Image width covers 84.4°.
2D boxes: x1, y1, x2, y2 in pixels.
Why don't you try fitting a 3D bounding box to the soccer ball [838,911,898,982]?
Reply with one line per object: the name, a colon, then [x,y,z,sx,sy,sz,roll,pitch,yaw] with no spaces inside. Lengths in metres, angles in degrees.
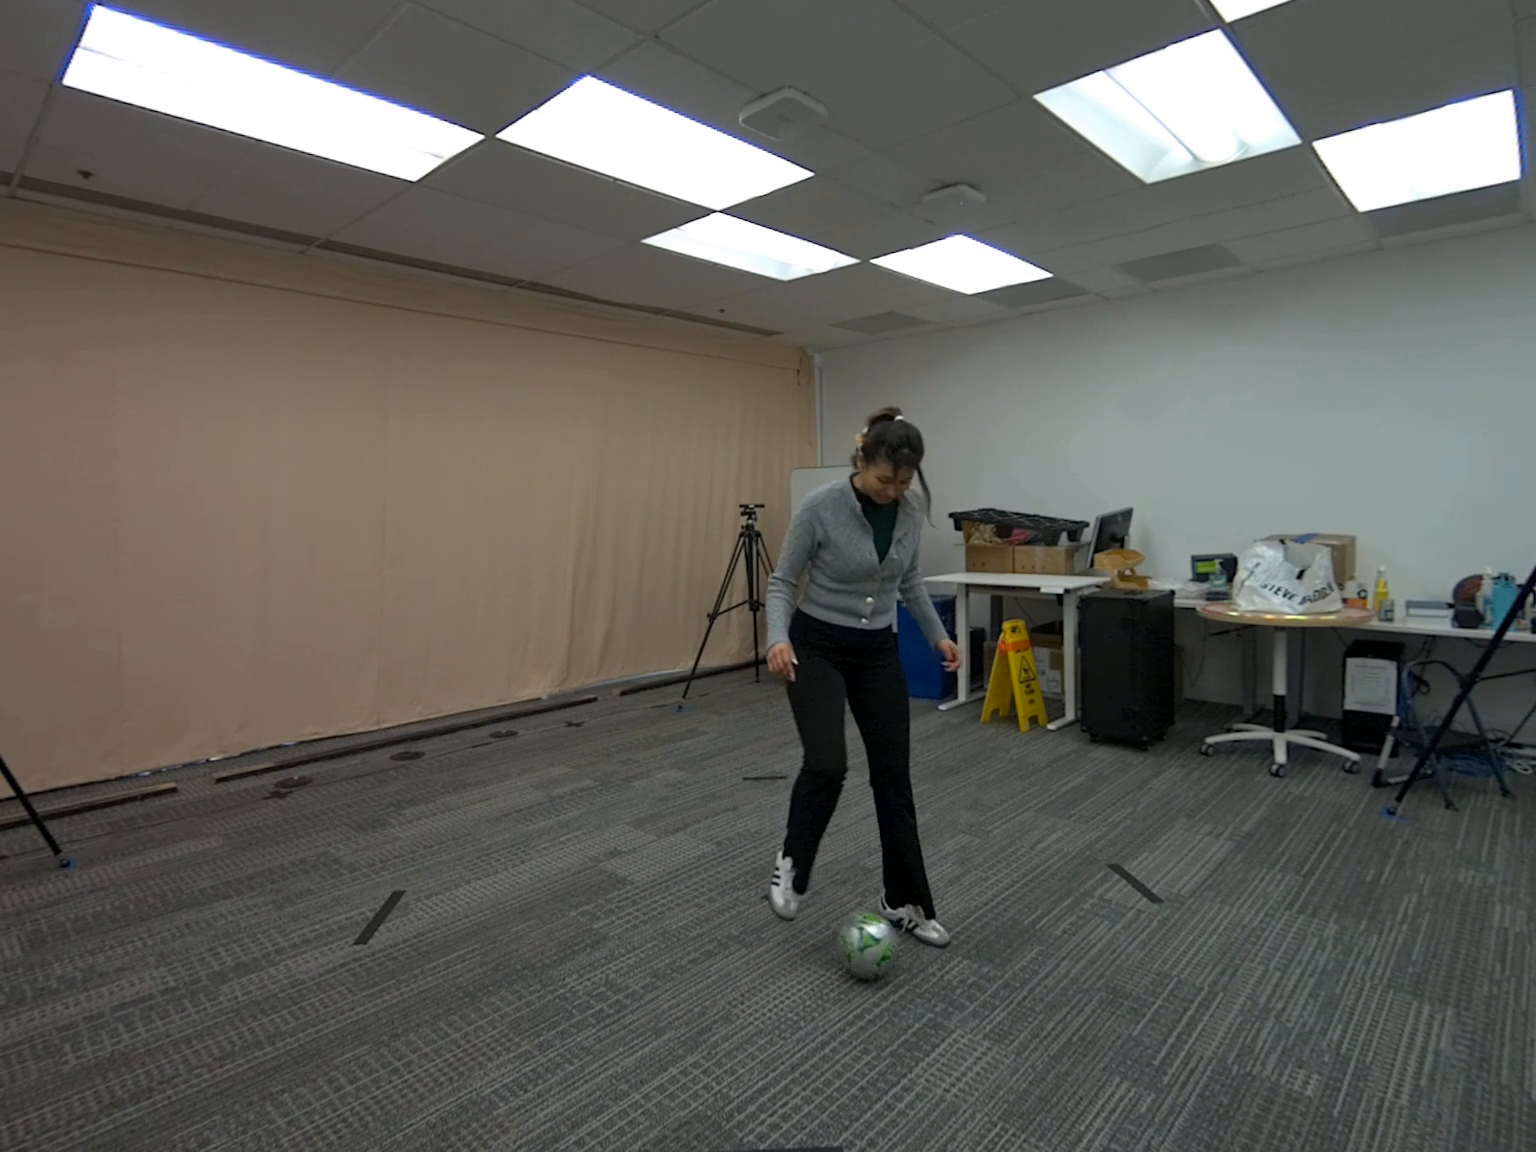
soccer ball: [0.297,1.085,2.478,0.187,0.187,0.188,-1,4,-2]
